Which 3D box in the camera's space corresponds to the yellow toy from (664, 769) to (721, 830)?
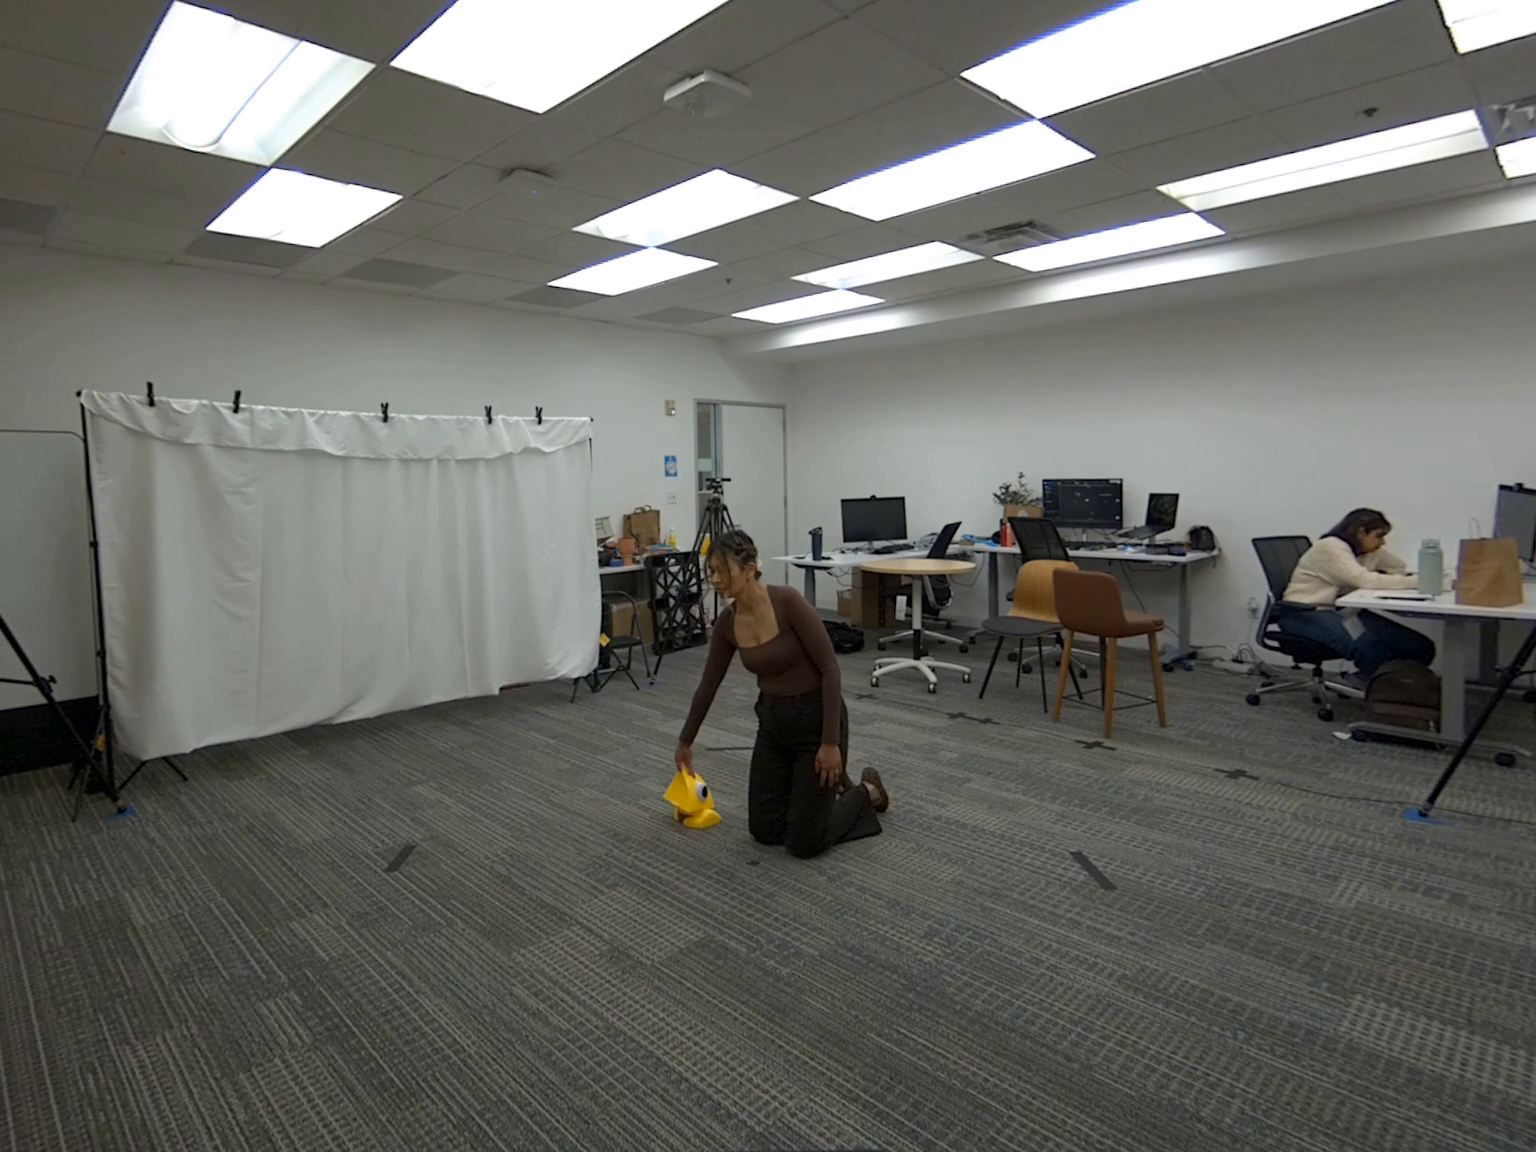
[{"bbox_3d":[-0.300,0.887,3.512,0.188,0.230,0.210,-4,4,-33],"label":"yellow toy"}]
